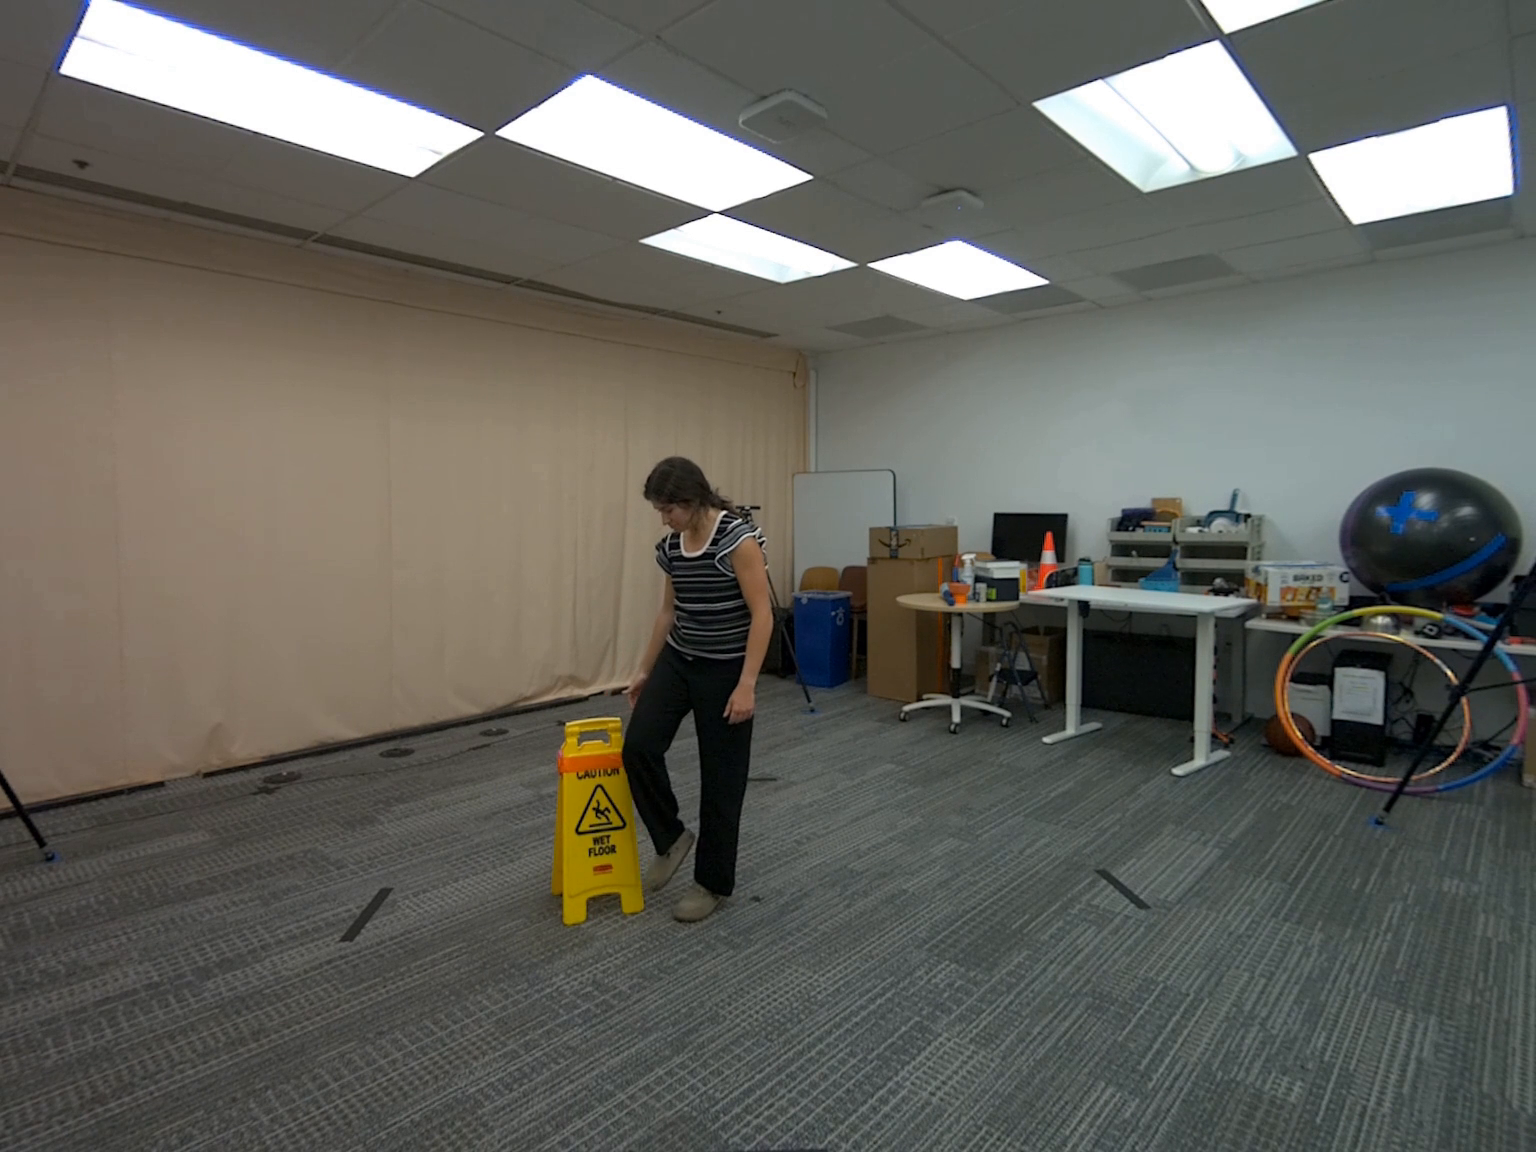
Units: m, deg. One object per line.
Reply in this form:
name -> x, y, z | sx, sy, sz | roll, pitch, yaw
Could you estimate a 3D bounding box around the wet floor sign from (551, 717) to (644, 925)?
wet floor sign -> -0.606, 0.827, 2.954 | 0.277, 0.645, 0.296 | -2, 3, -20
